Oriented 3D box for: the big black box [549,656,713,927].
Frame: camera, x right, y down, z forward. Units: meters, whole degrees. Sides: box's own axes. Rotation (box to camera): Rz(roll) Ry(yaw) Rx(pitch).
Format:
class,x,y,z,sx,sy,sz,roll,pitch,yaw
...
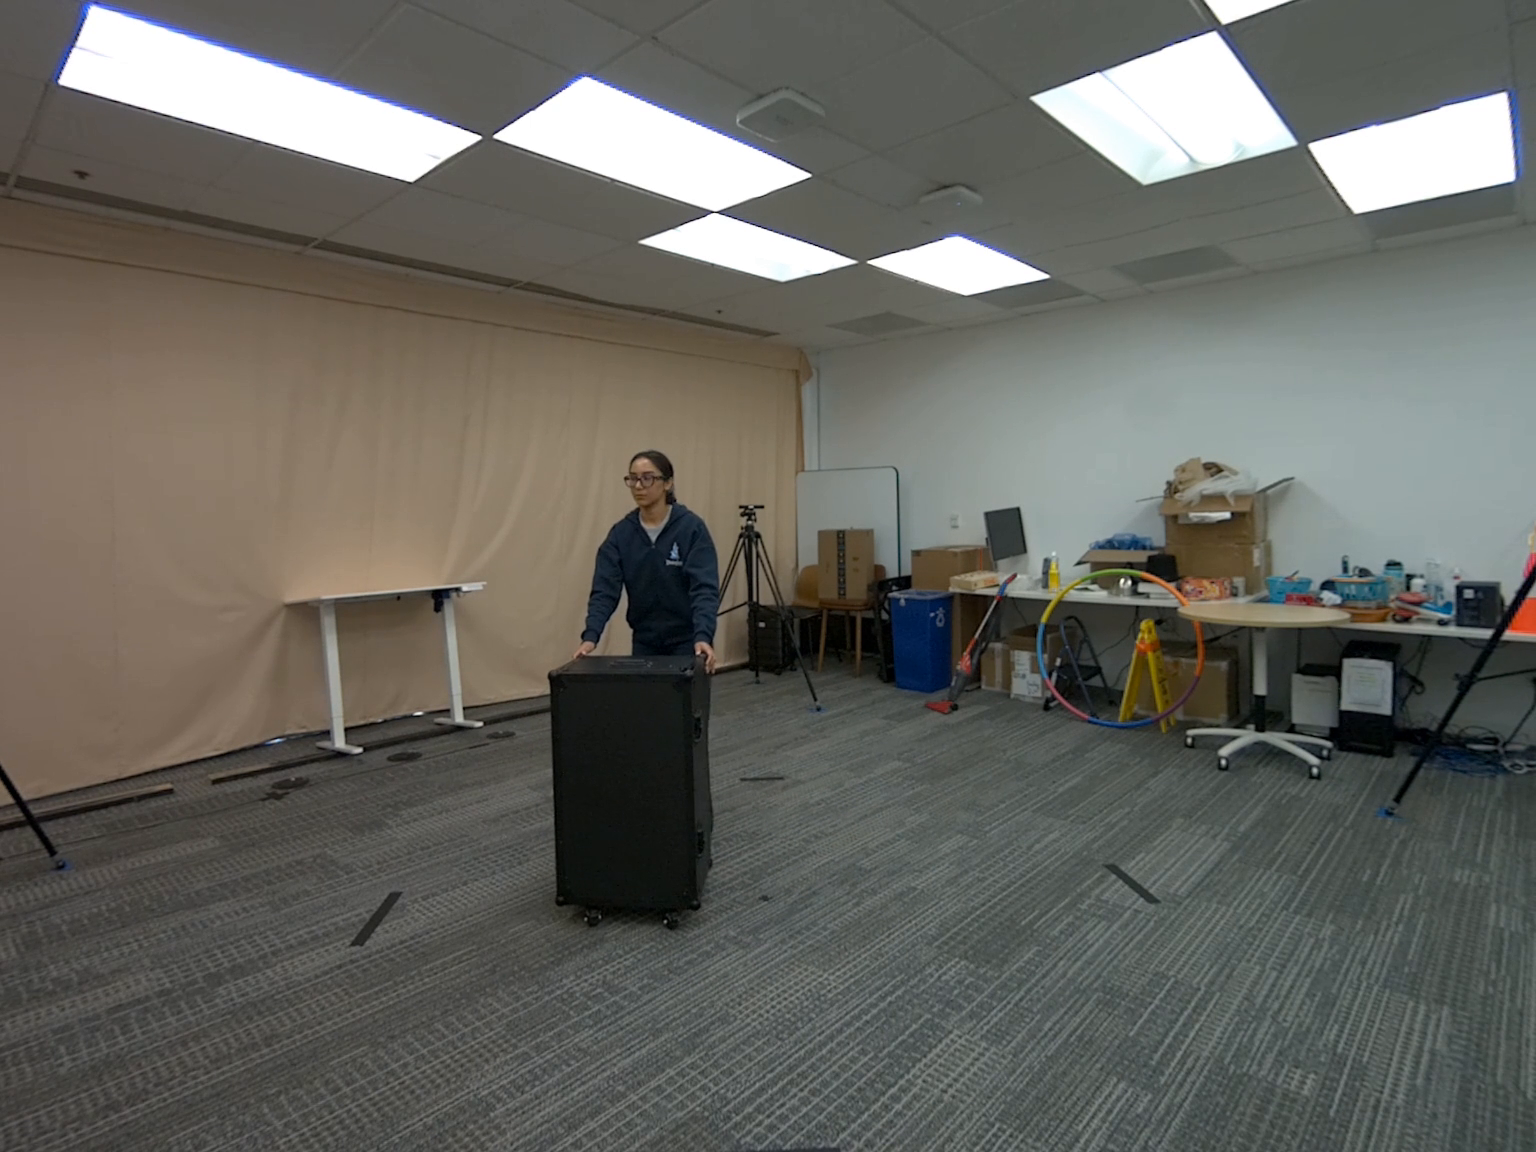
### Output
class,x,y,z,sx,sy,sz,roll,pitch,yaw
big black box,-0.468,0.729,2.957,0.525,0.861,0.393,-1,1,7
